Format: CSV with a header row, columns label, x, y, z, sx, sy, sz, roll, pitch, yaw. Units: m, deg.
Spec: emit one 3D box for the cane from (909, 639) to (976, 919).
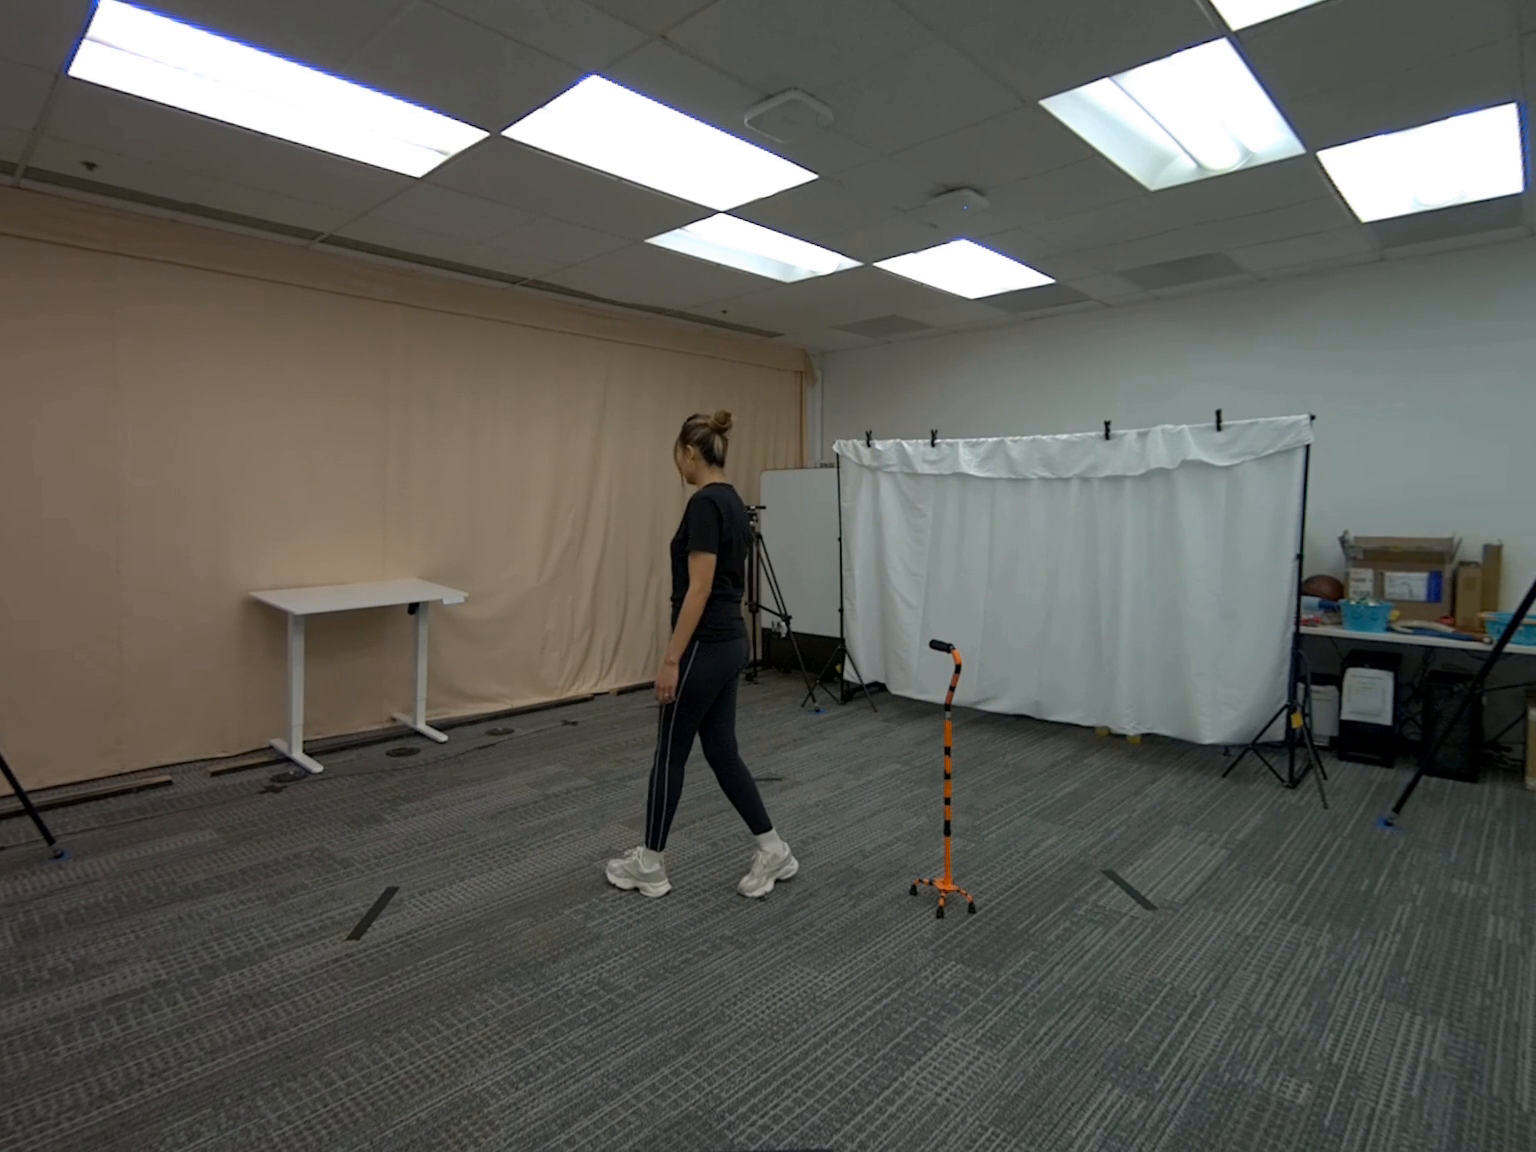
label,x,y,z,sx,sy,sz,roll,pitch,yaw
cane,0.624,0.694,2.926,0.149,0.906,0.210,0,3,-18
